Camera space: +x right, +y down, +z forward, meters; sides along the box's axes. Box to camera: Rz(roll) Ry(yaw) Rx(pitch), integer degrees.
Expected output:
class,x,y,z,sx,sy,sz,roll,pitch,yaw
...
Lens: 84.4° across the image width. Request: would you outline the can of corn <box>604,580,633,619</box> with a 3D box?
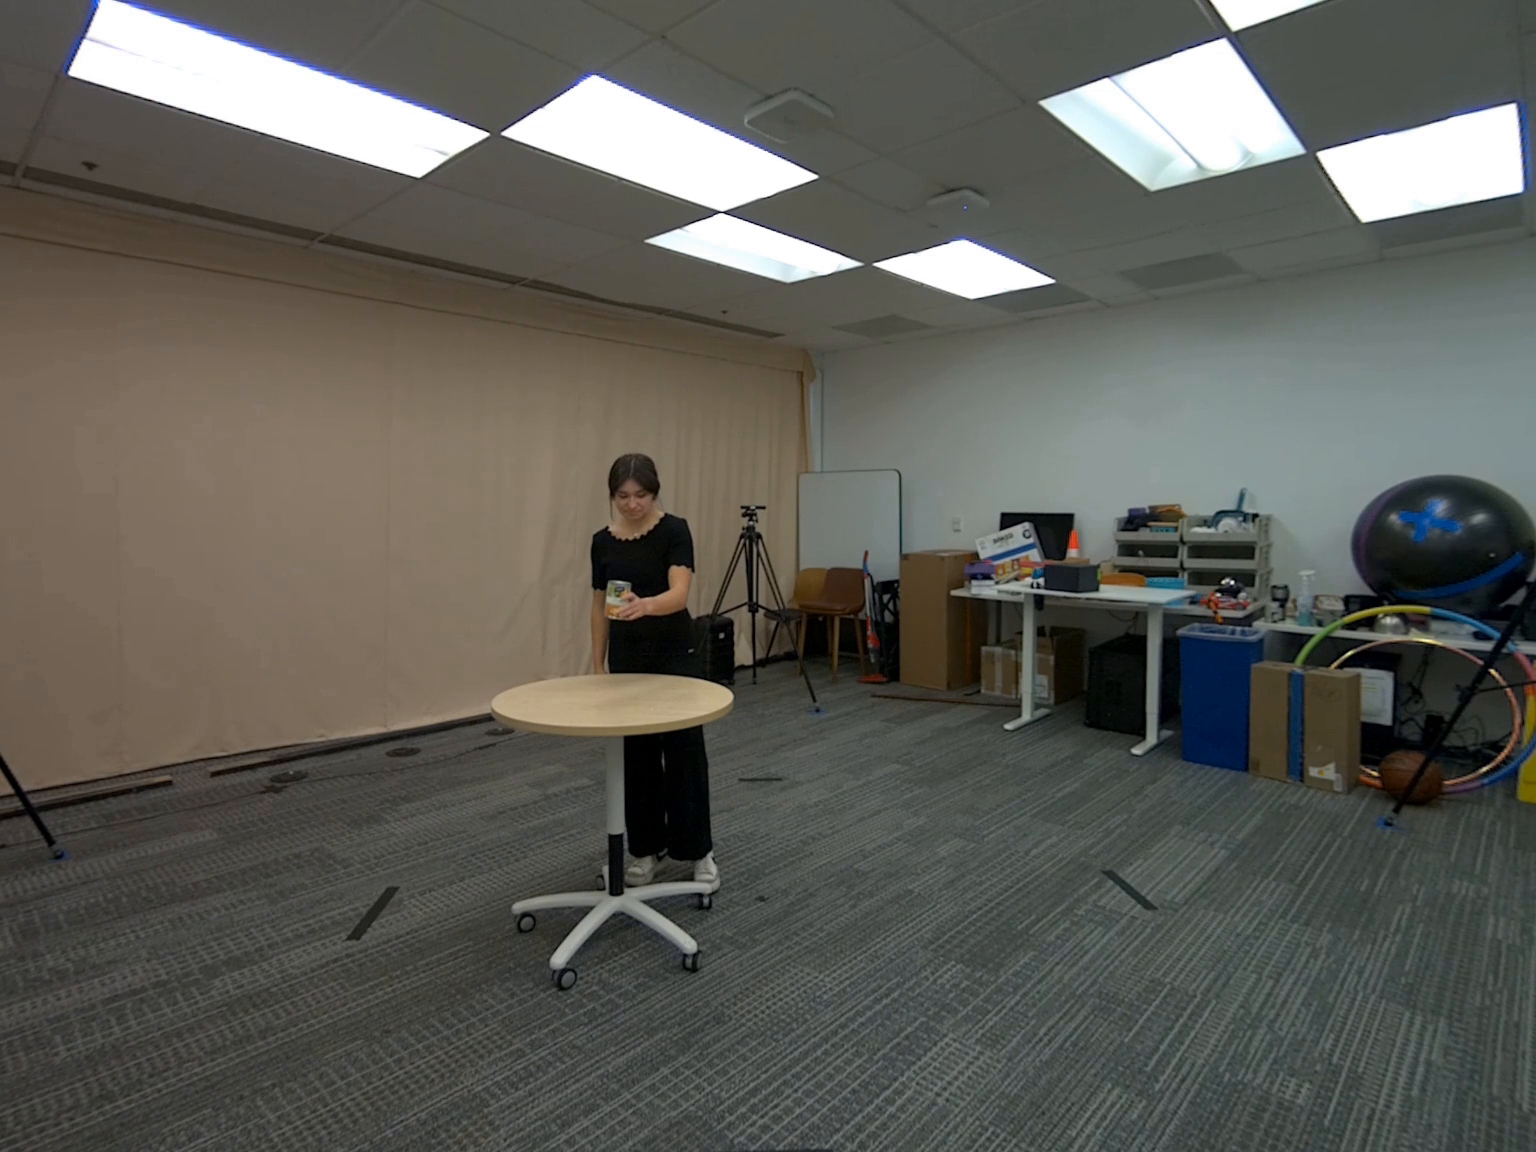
class,x,y,z,sx,sy,sz,roll,pitch,yaw
can of corn,-0.483,0.079,2.693,0.074,0.111,0.074,5,4,-2
